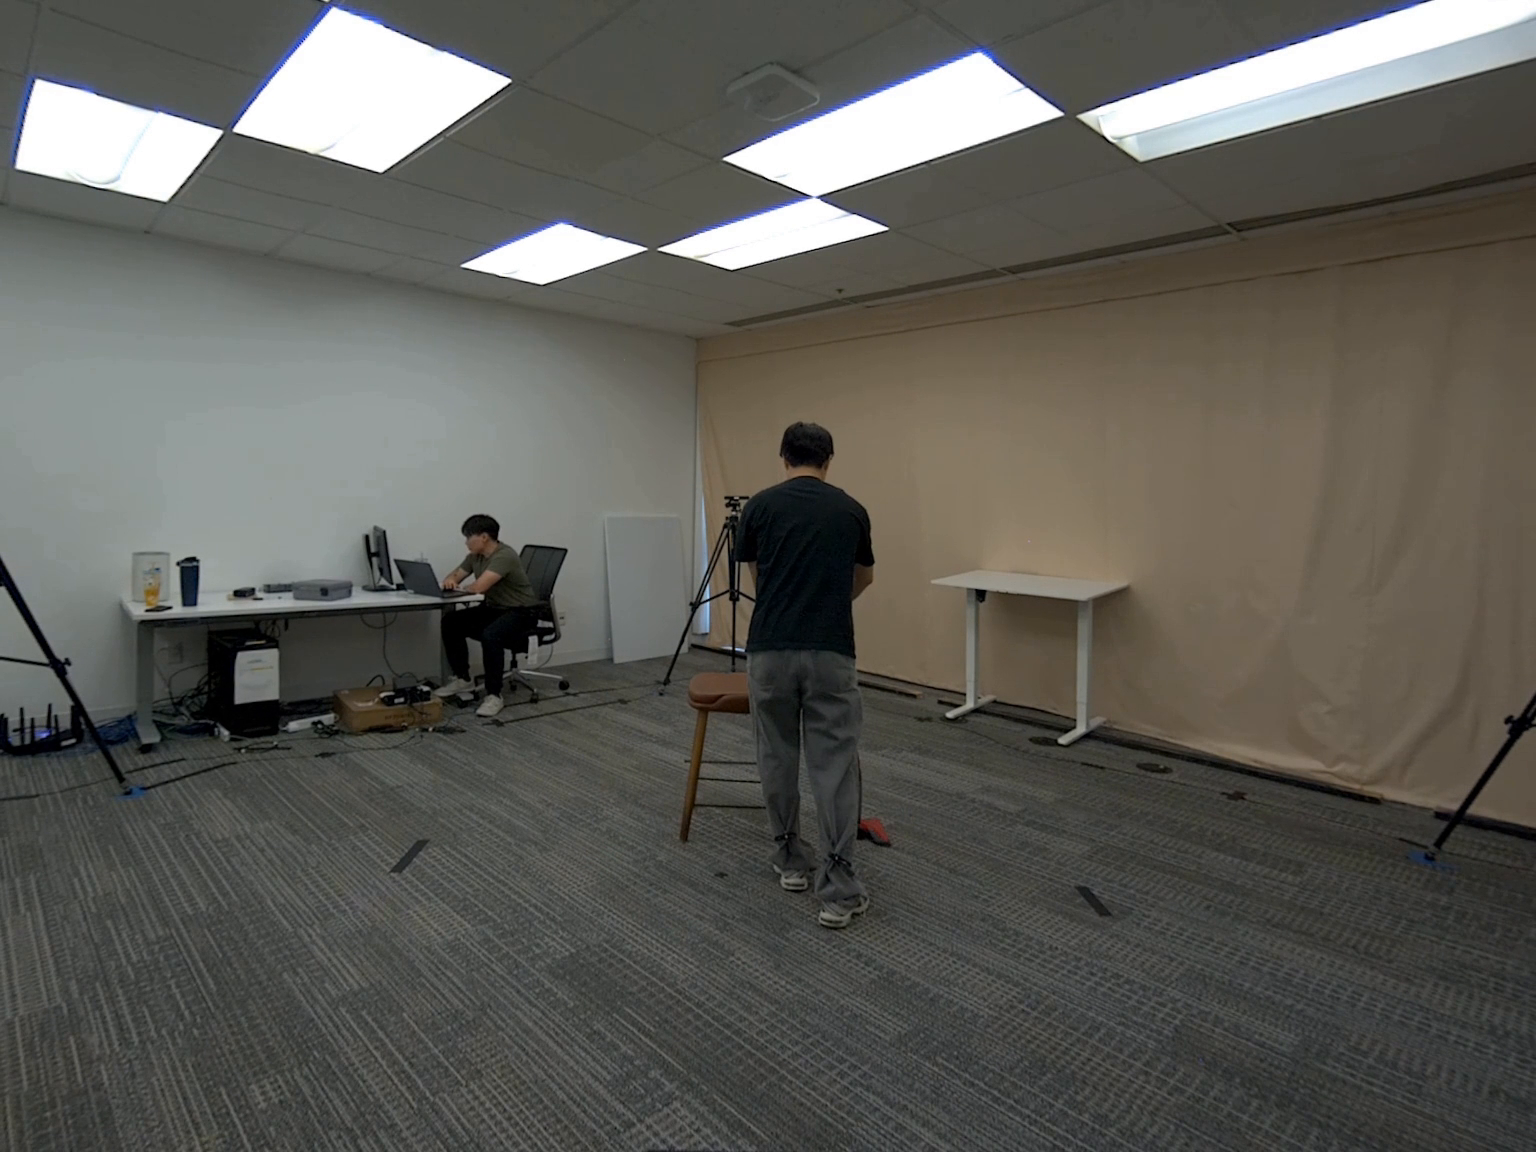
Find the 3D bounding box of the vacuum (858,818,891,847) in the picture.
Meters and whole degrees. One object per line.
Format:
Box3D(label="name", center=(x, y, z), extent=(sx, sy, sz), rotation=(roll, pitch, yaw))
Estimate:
Box3D(label="vacuum", center=(0.274, 0.579, 3.492), extent=(0.143, 1.045, 0.255), rotation=(-16, 5, -12))
